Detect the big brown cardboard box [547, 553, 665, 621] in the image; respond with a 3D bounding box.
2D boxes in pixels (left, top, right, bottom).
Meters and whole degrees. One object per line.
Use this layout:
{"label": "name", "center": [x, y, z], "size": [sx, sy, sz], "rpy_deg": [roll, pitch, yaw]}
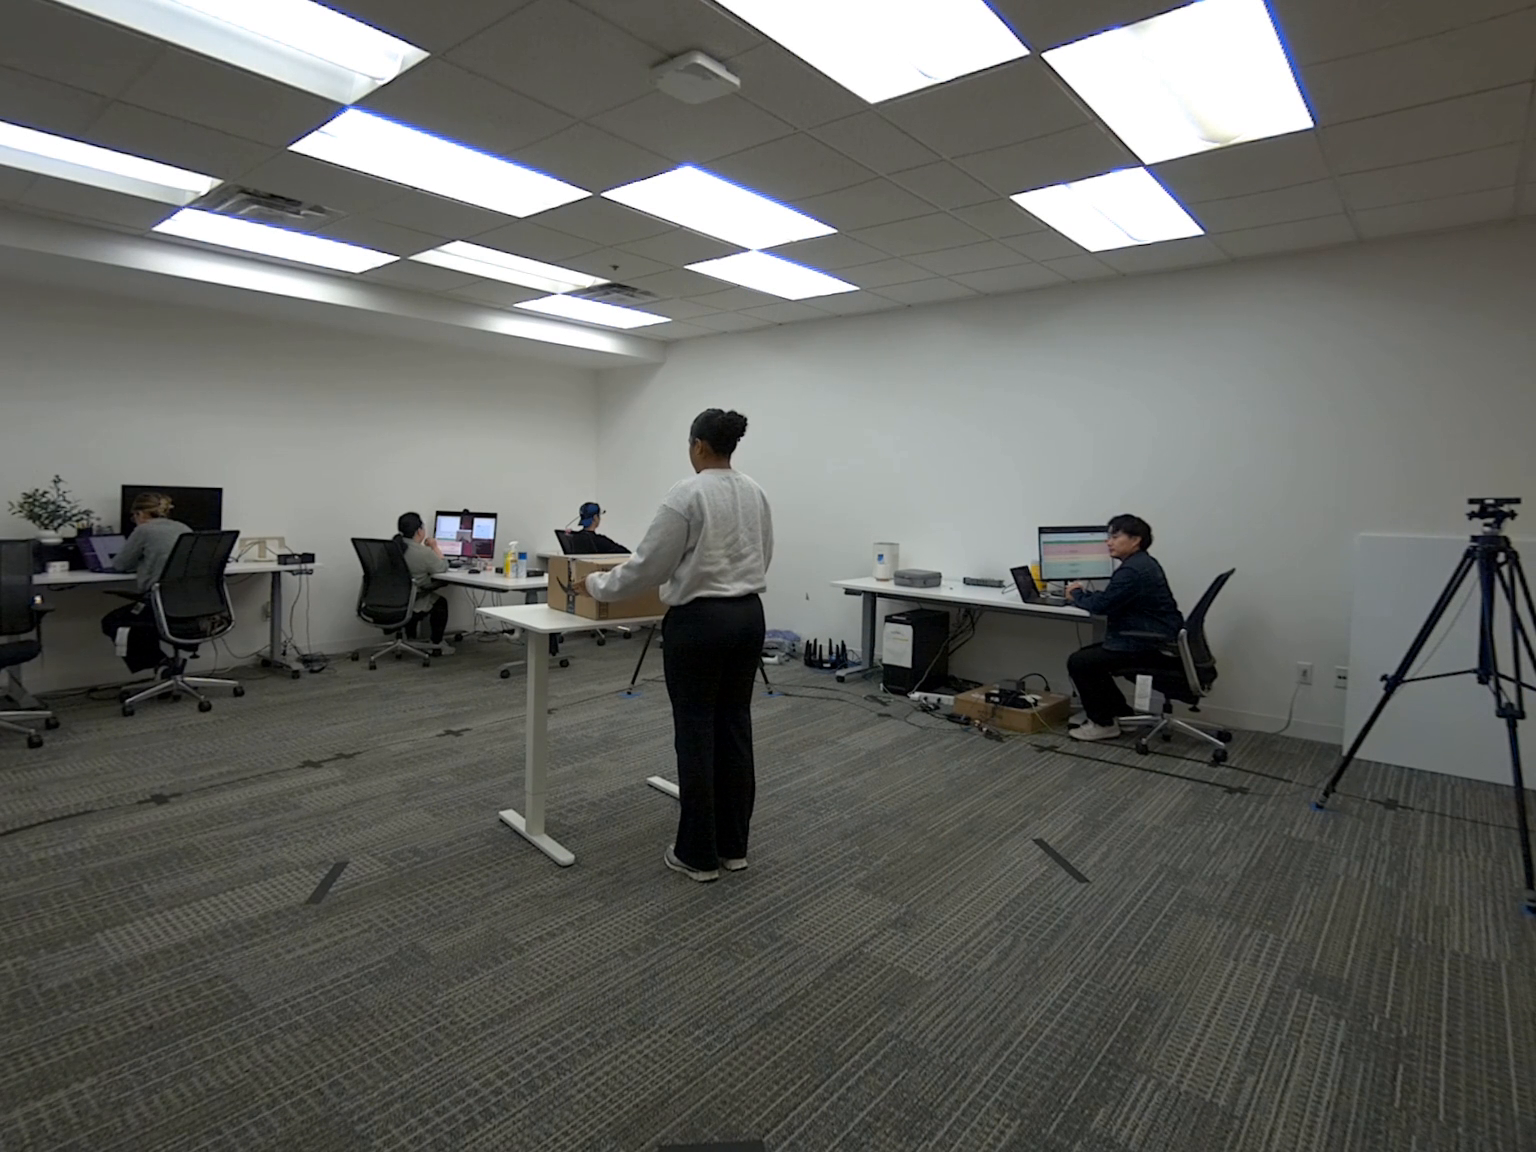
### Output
{"label": "big brown cardboard box", "center": [-0.576, 0.028, 3.527], "size": [0.572, 0.232, 0.432], "rpy_deg": [-4, 7, -40]}
